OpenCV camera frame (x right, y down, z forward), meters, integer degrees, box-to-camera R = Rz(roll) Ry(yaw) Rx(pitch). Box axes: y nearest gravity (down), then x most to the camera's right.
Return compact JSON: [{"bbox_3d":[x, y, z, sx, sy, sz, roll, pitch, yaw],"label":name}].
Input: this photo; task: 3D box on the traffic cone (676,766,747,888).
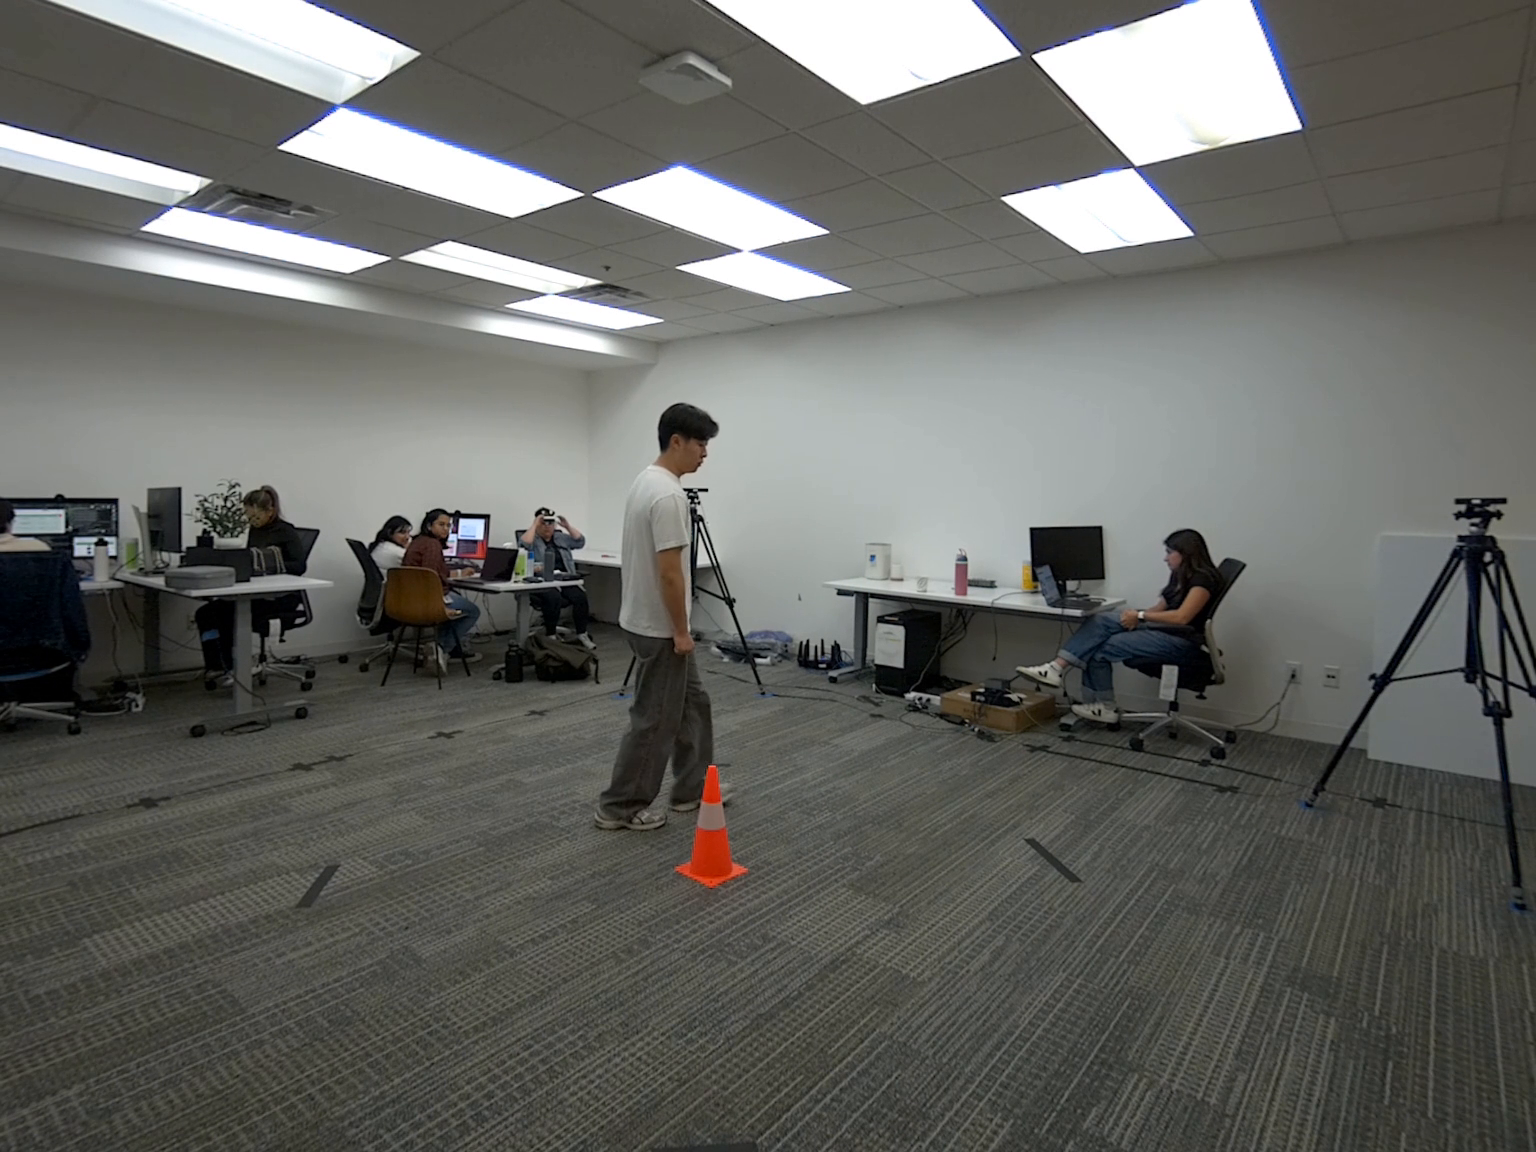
[{"bbox_3d":[-0.209,0.883,3.104,0.199,0.383,0.210,-3,4,-44],"label":"traffic cone"}]
